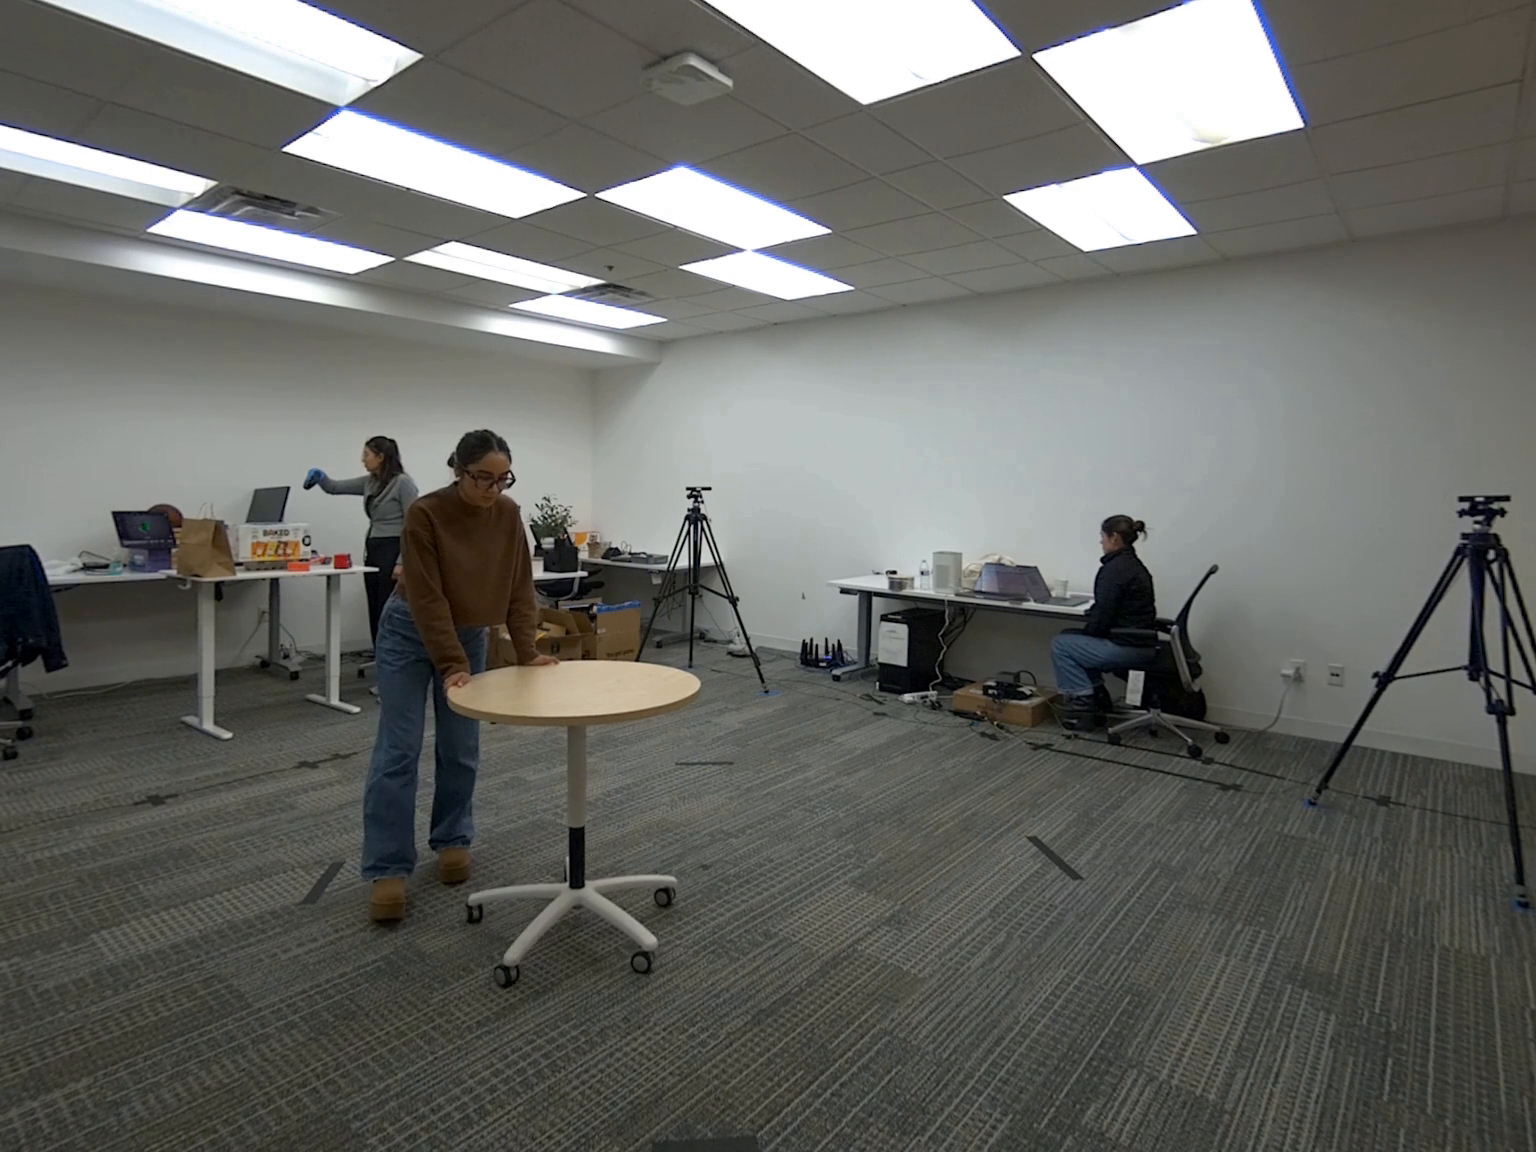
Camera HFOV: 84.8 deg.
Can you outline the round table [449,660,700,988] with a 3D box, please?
[{"bbox_3d":[-0.608,0.724,2.639,0.763,0.791,0.768,0,4,-2],"label":"round table"}]
